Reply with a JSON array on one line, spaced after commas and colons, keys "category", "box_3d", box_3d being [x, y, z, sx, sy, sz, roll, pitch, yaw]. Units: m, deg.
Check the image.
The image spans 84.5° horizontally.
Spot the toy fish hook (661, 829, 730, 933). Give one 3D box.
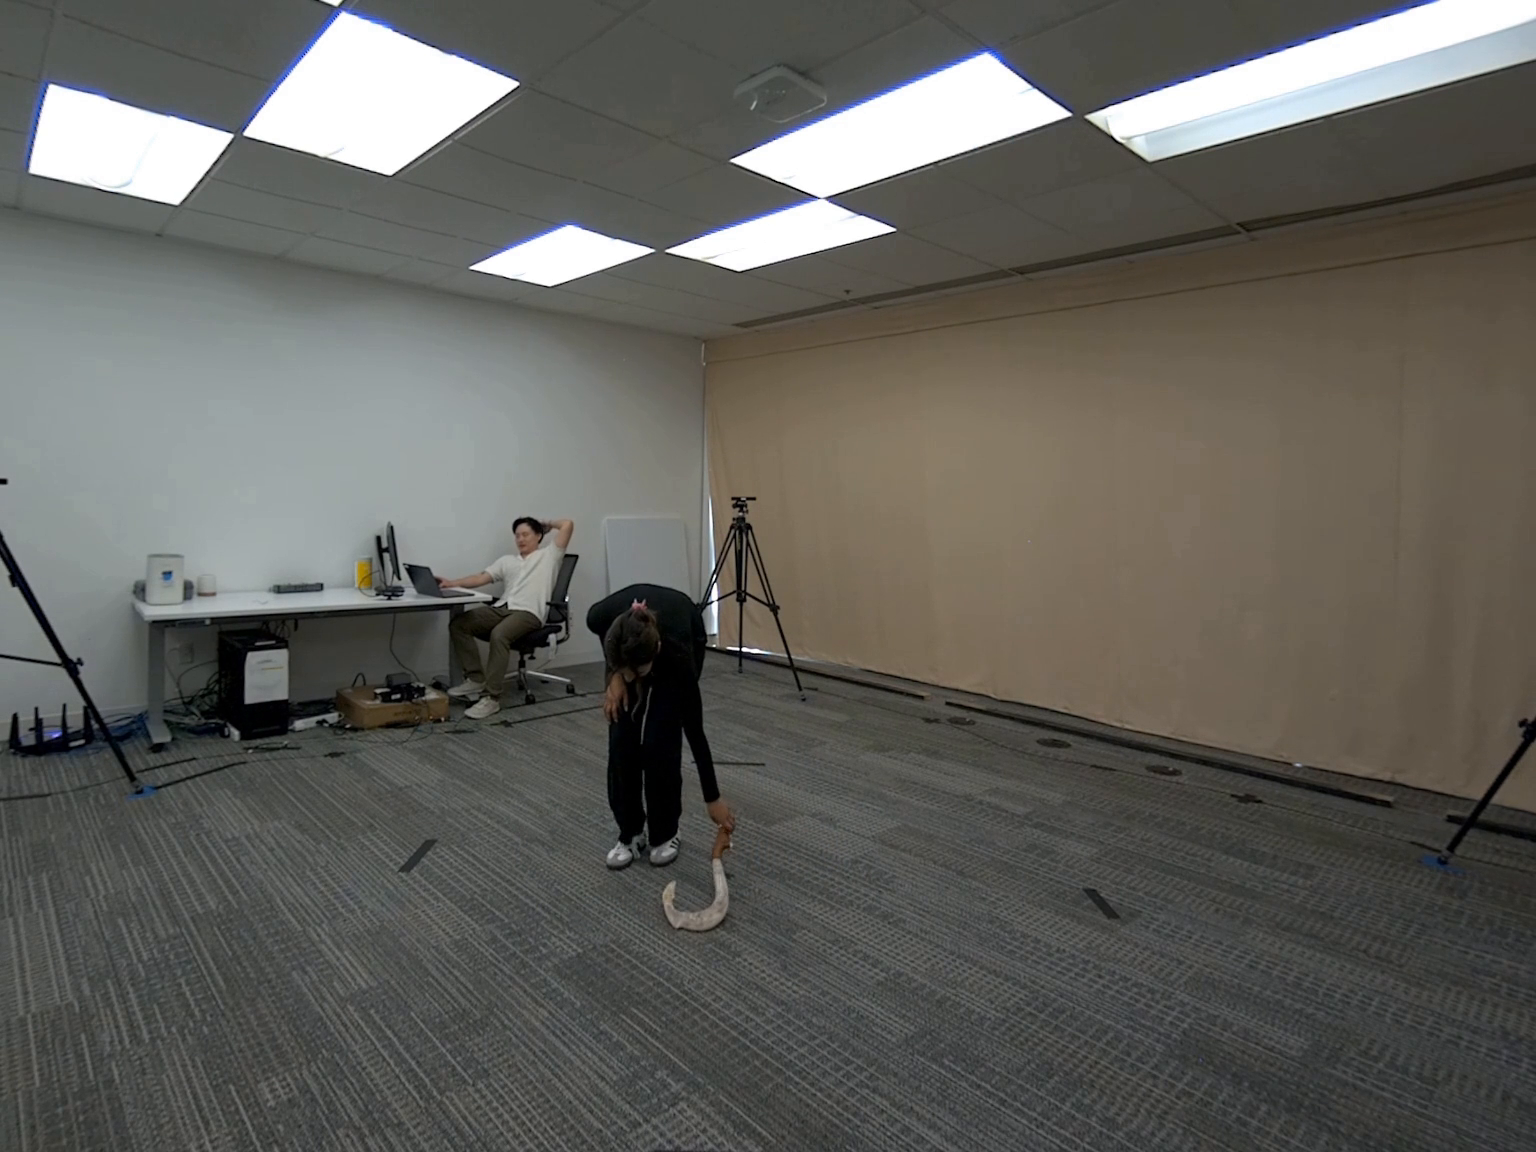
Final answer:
[{"category": "toy fish hook", "box_3d": [-0.236, 1.040, 2.927, 0.225, 0.047, 0.511, 3, 21, 4]}]
